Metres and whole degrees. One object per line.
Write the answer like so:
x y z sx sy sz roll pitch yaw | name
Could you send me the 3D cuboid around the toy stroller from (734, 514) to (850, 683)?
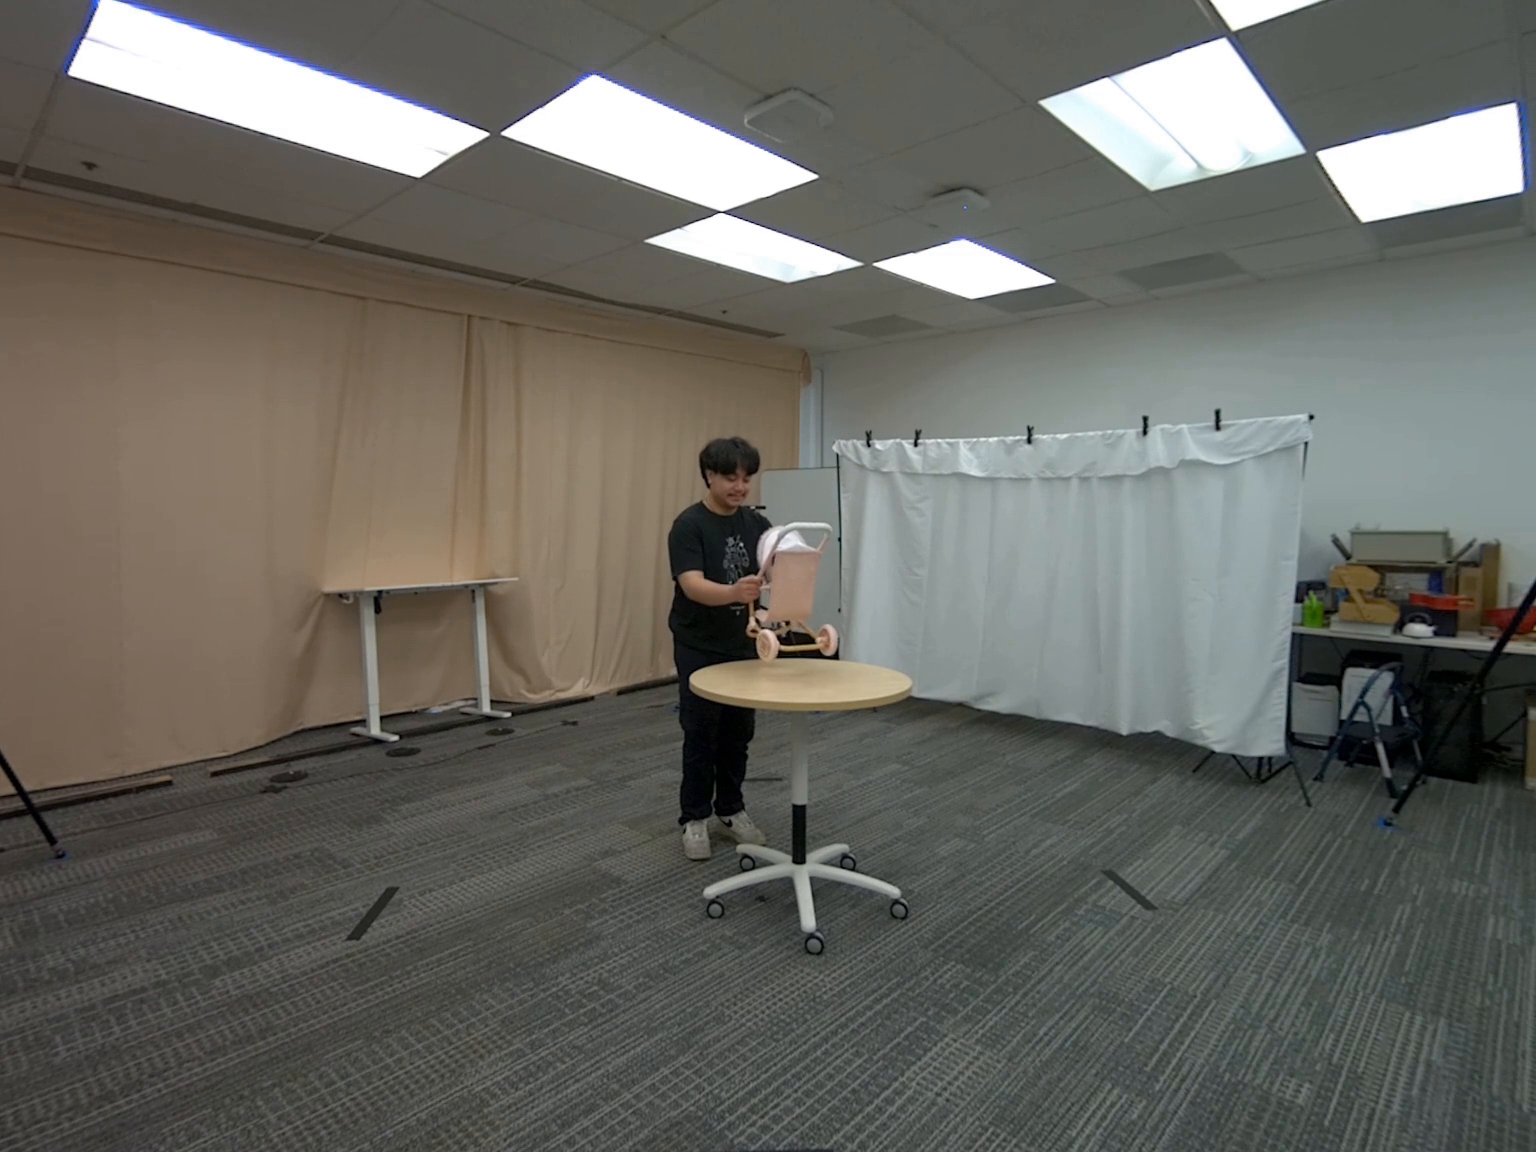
0.066 0.060 3.008 0.275 0.533 0.351 -2 8 -25 | toy stroller
